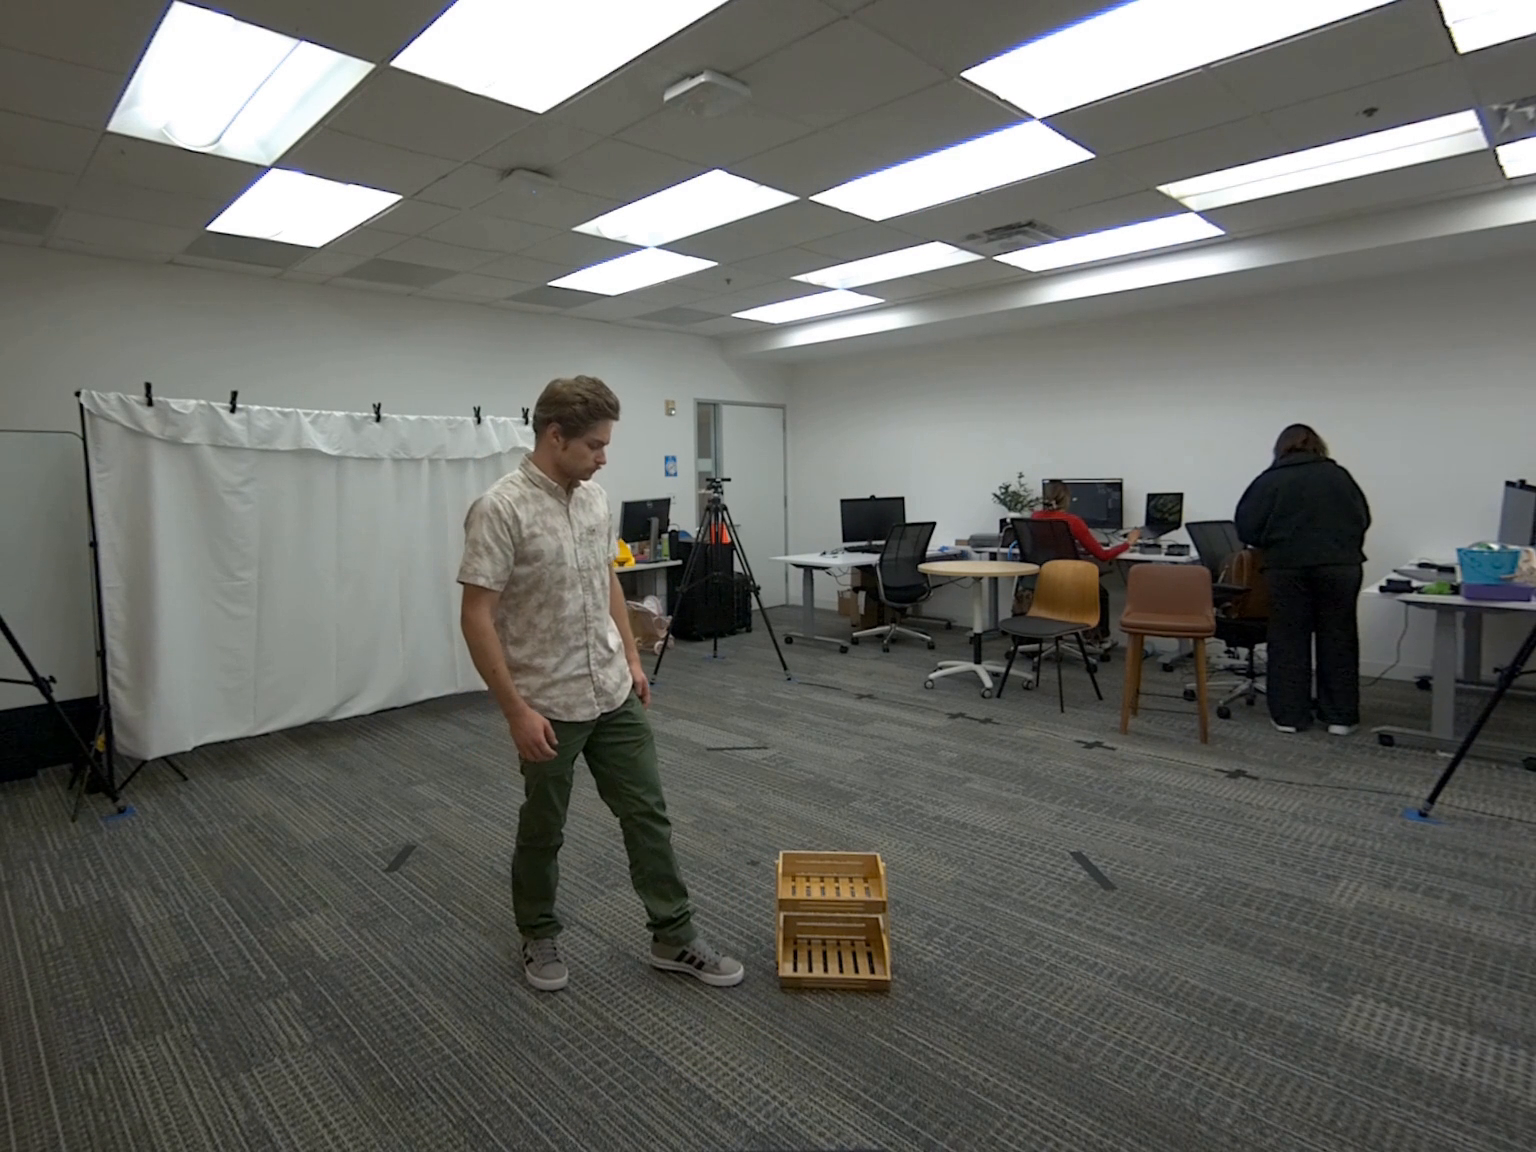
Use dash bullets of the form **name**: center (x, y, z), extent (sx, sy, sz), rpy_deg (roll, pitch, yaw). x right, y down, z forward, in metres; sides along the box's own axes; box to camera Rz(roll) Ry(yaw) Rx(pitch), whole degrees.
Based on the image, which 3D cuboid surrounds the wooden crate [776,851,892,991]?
- **wooden crate**: center (0.192, 0.986, 2.441), extent (0.325, 0.272, 0.302), rpy_deg (-1, 6, 3)
